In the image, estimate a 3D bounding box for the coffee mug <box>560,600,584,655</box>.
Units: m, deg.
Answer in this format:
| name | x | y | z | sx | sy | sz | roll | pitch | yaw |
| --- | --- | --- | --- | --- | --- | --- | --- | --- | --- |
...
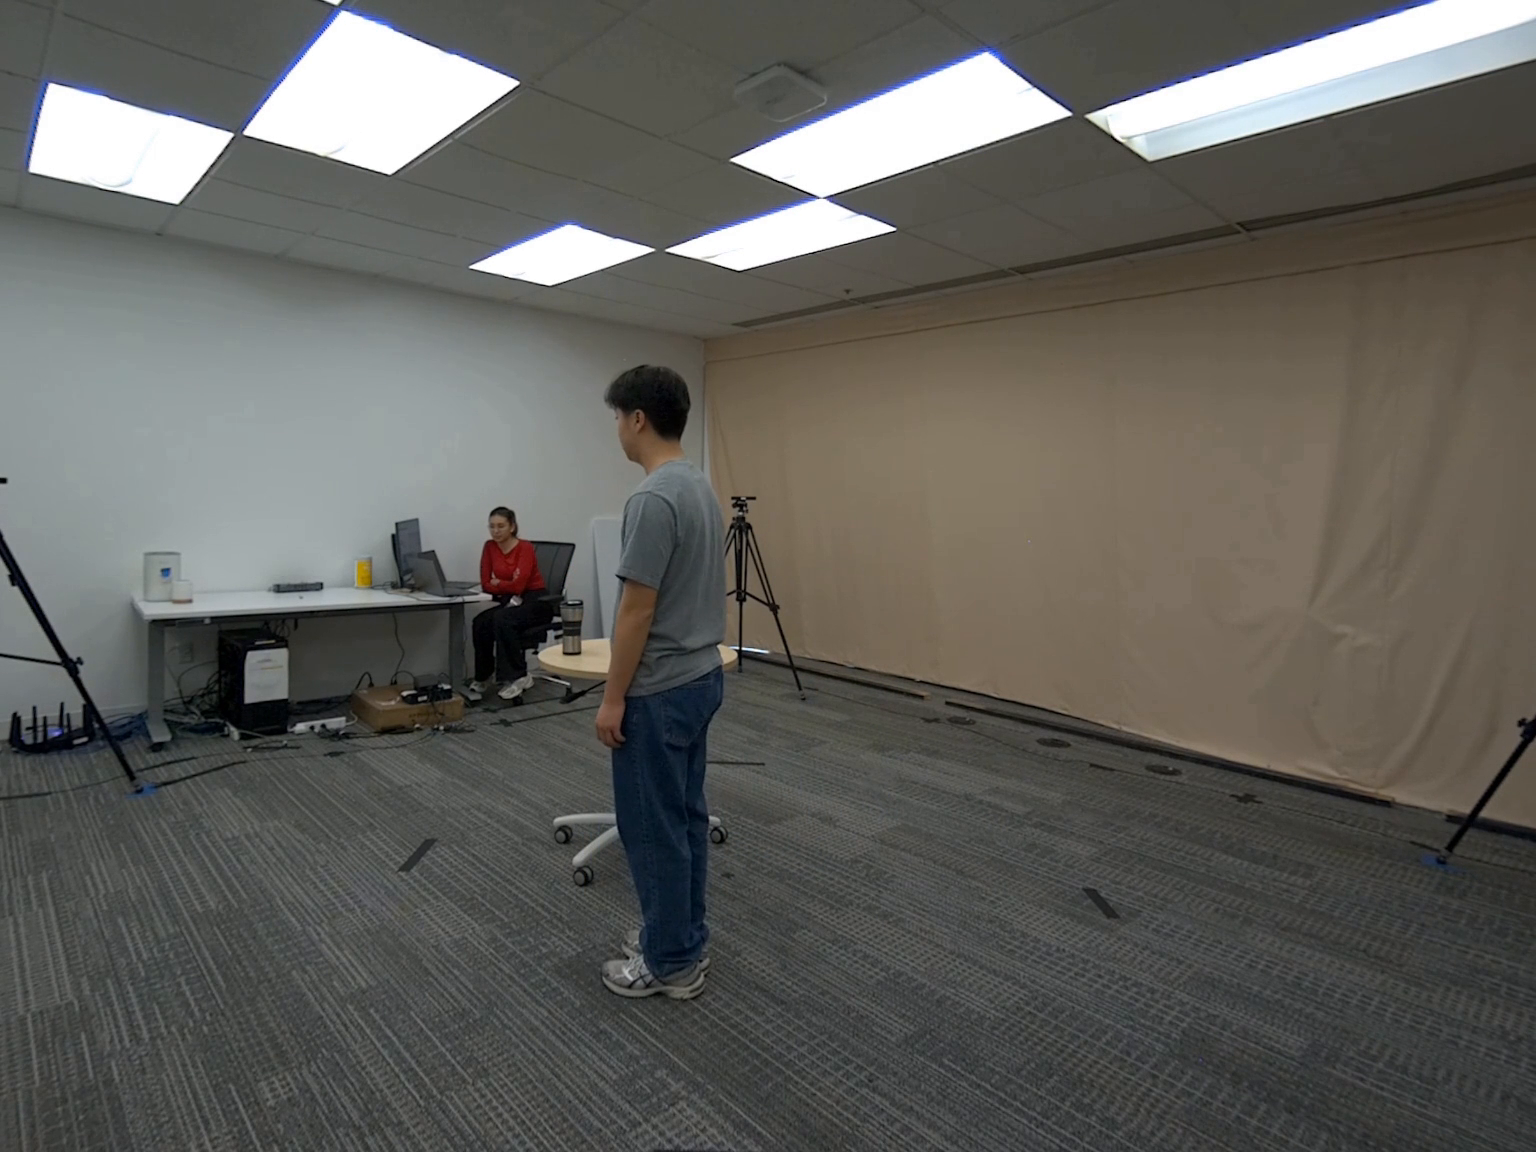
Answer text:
| name | x | y | z | sx | sy | sz | roll | pitch | yaw |
| --- | --- | --- | --- | --- | --- | --- | --- | --- | --- |
| coffee mug | -0.739 | 0.199 | 3.236 | 0.090 | 0.202 | 0.120 | 0 | 4 | 30 |
